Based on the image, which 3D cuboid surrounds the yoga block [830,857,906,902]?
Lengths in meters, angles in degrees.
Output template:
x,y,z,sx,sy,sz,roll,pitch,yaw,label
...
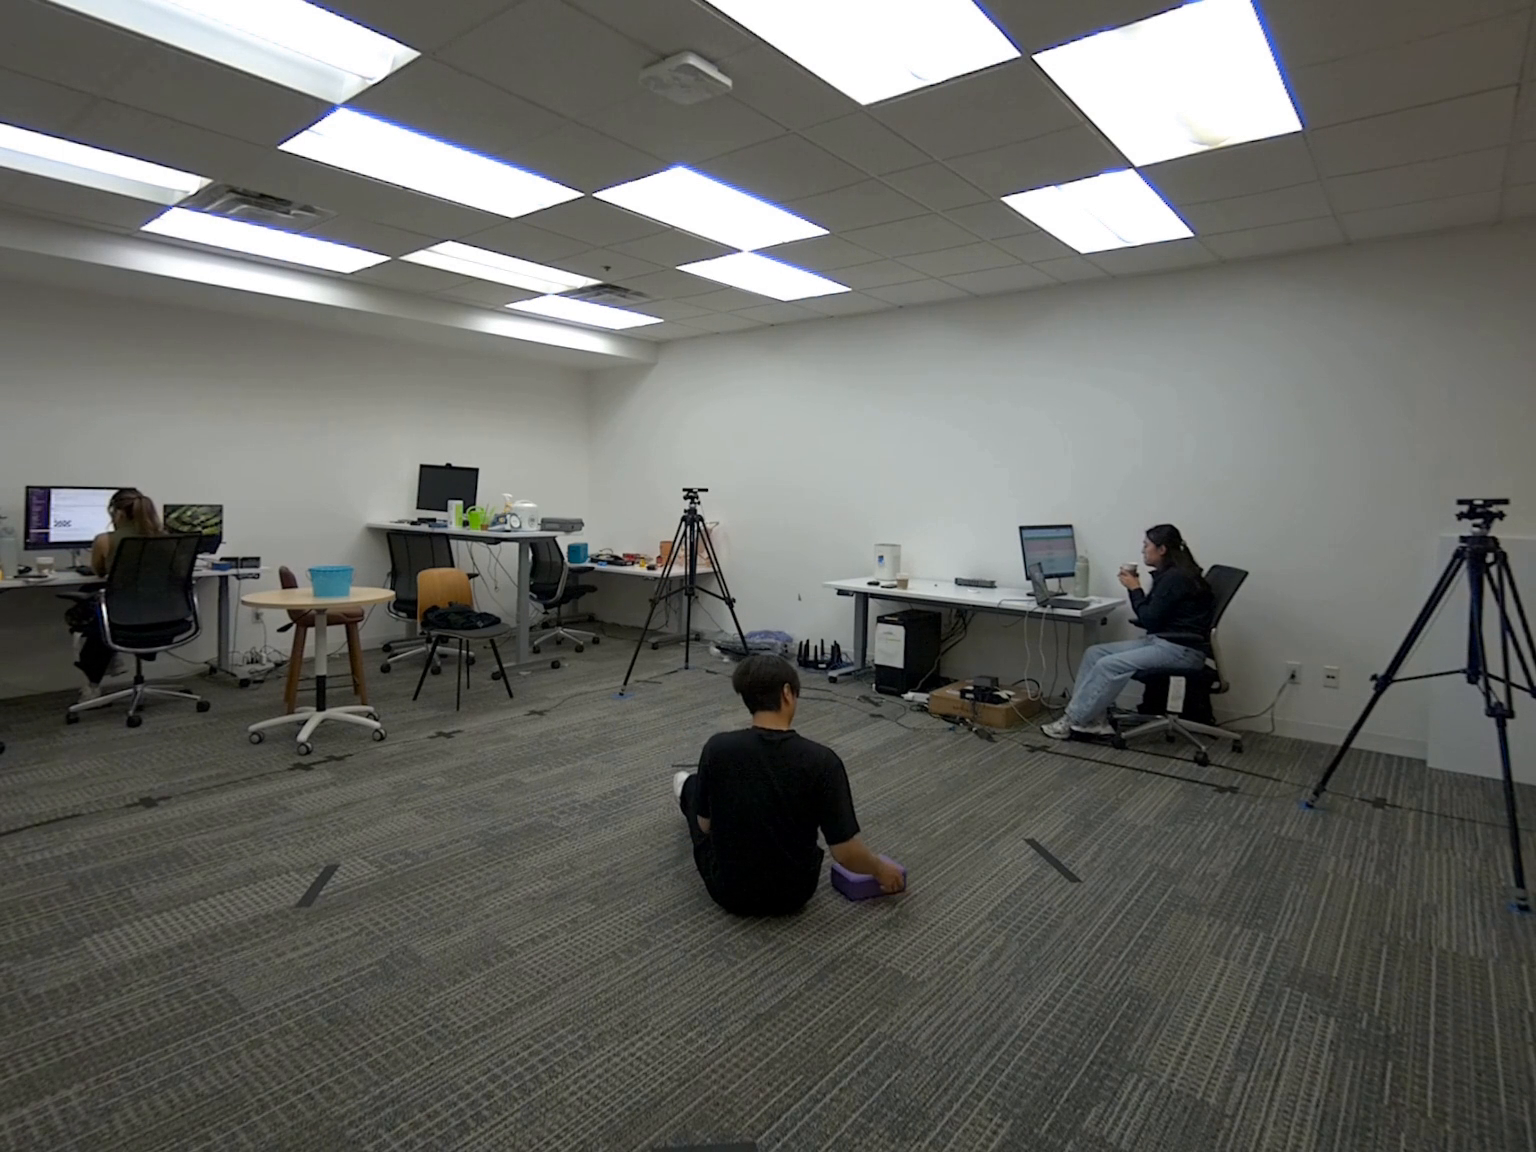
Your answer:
x,y,z,sx,sy,sz,roll,pitch,yaw,label
0.348,1.056,2.984,0.224,0.076,0.153,-2,5,-24,yoga block
